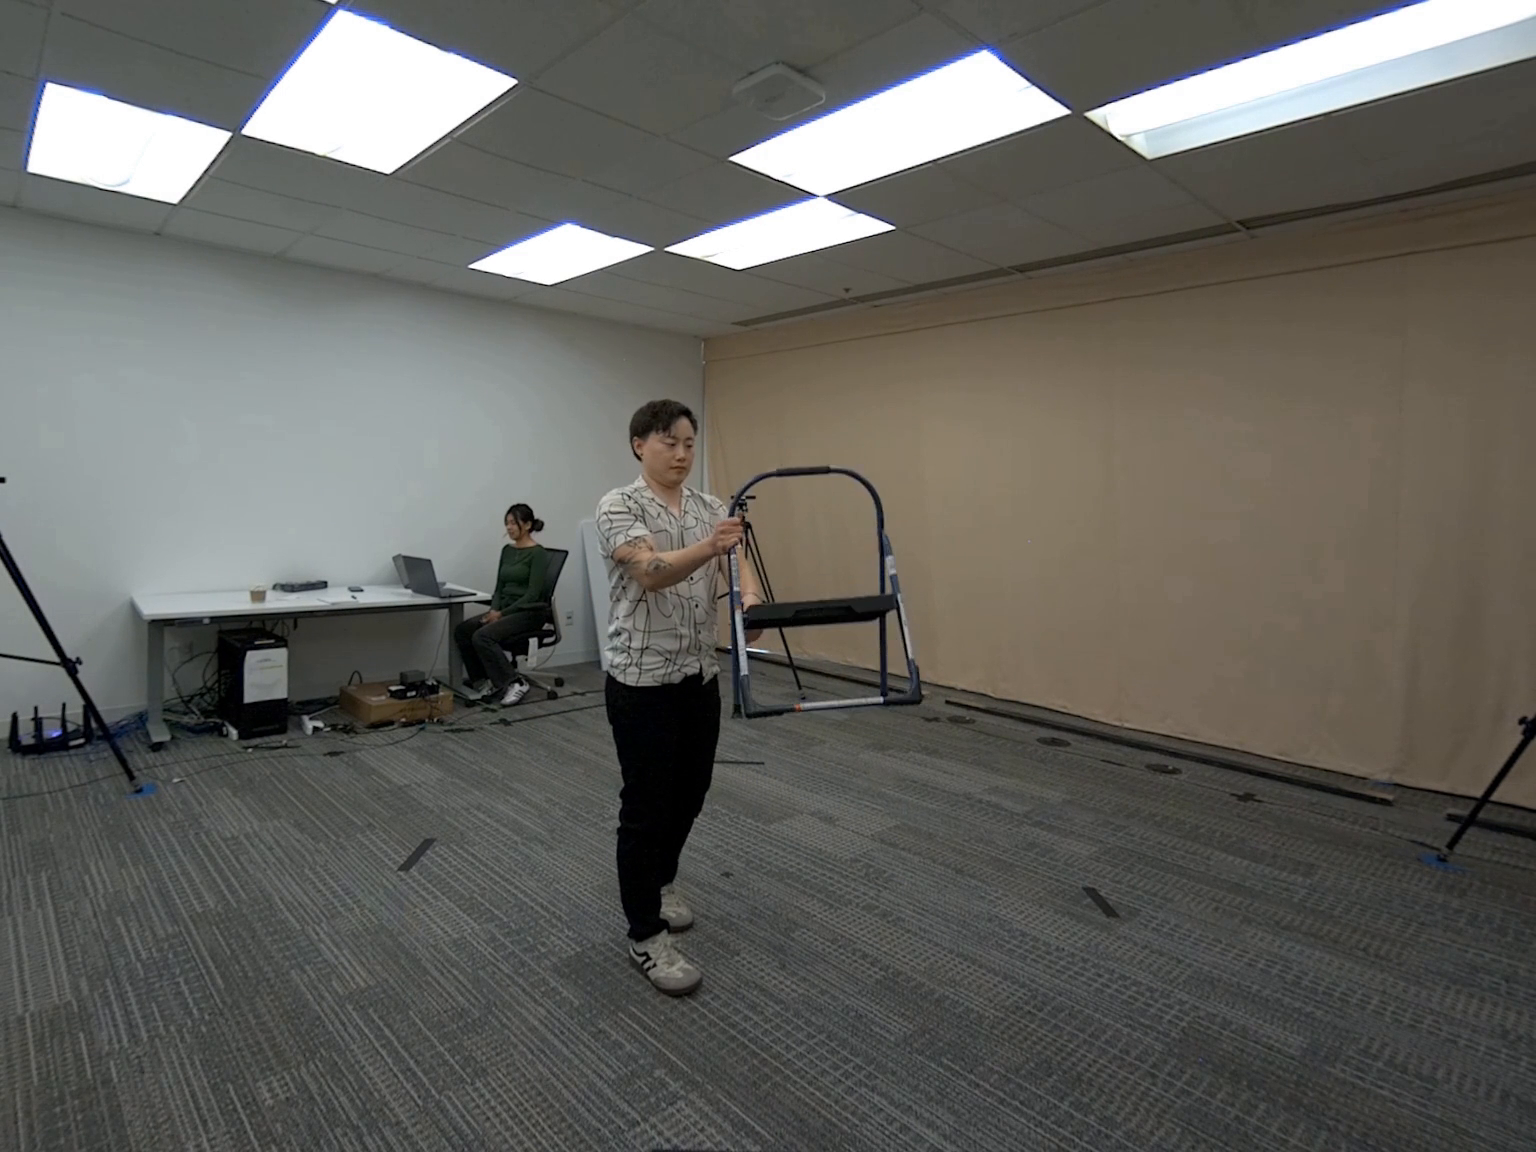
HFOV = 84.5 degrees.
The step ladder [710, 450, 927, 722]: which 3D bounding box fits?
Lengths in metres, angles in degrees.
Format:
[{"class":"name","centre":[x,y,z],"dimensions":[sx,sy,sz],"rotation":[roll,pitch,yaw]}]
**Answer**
[{"class":"step ladder","centre":[0.099,0.037,2.130],"dimensions":[0.429,0.611,0.348],"rotation":[-4,-11,-6]}]
